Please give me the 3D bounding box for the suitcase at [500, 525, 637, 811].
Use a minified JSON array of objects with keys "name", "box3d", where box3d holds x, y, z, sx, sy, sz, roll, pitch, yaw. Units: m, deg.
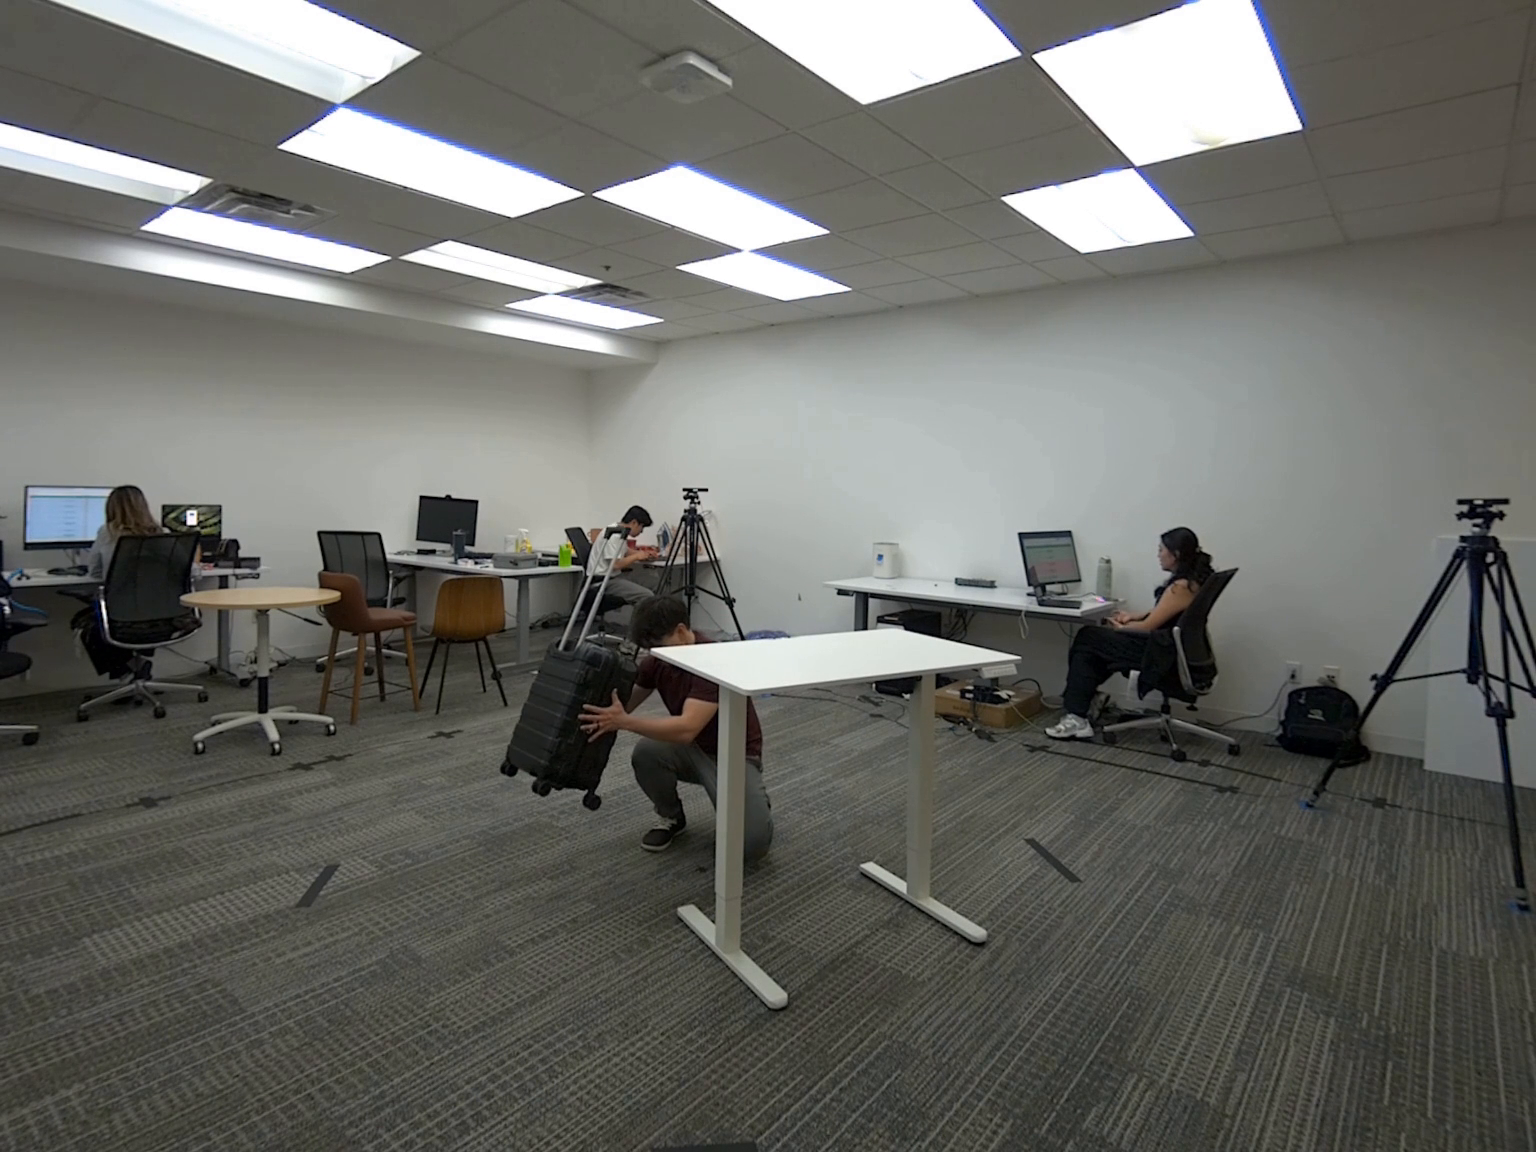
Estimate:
[{"name":"suitcase","box3d":[-0.666,0.315,3.135,0.247,0.986,0.395,26,-15,-34]}]
